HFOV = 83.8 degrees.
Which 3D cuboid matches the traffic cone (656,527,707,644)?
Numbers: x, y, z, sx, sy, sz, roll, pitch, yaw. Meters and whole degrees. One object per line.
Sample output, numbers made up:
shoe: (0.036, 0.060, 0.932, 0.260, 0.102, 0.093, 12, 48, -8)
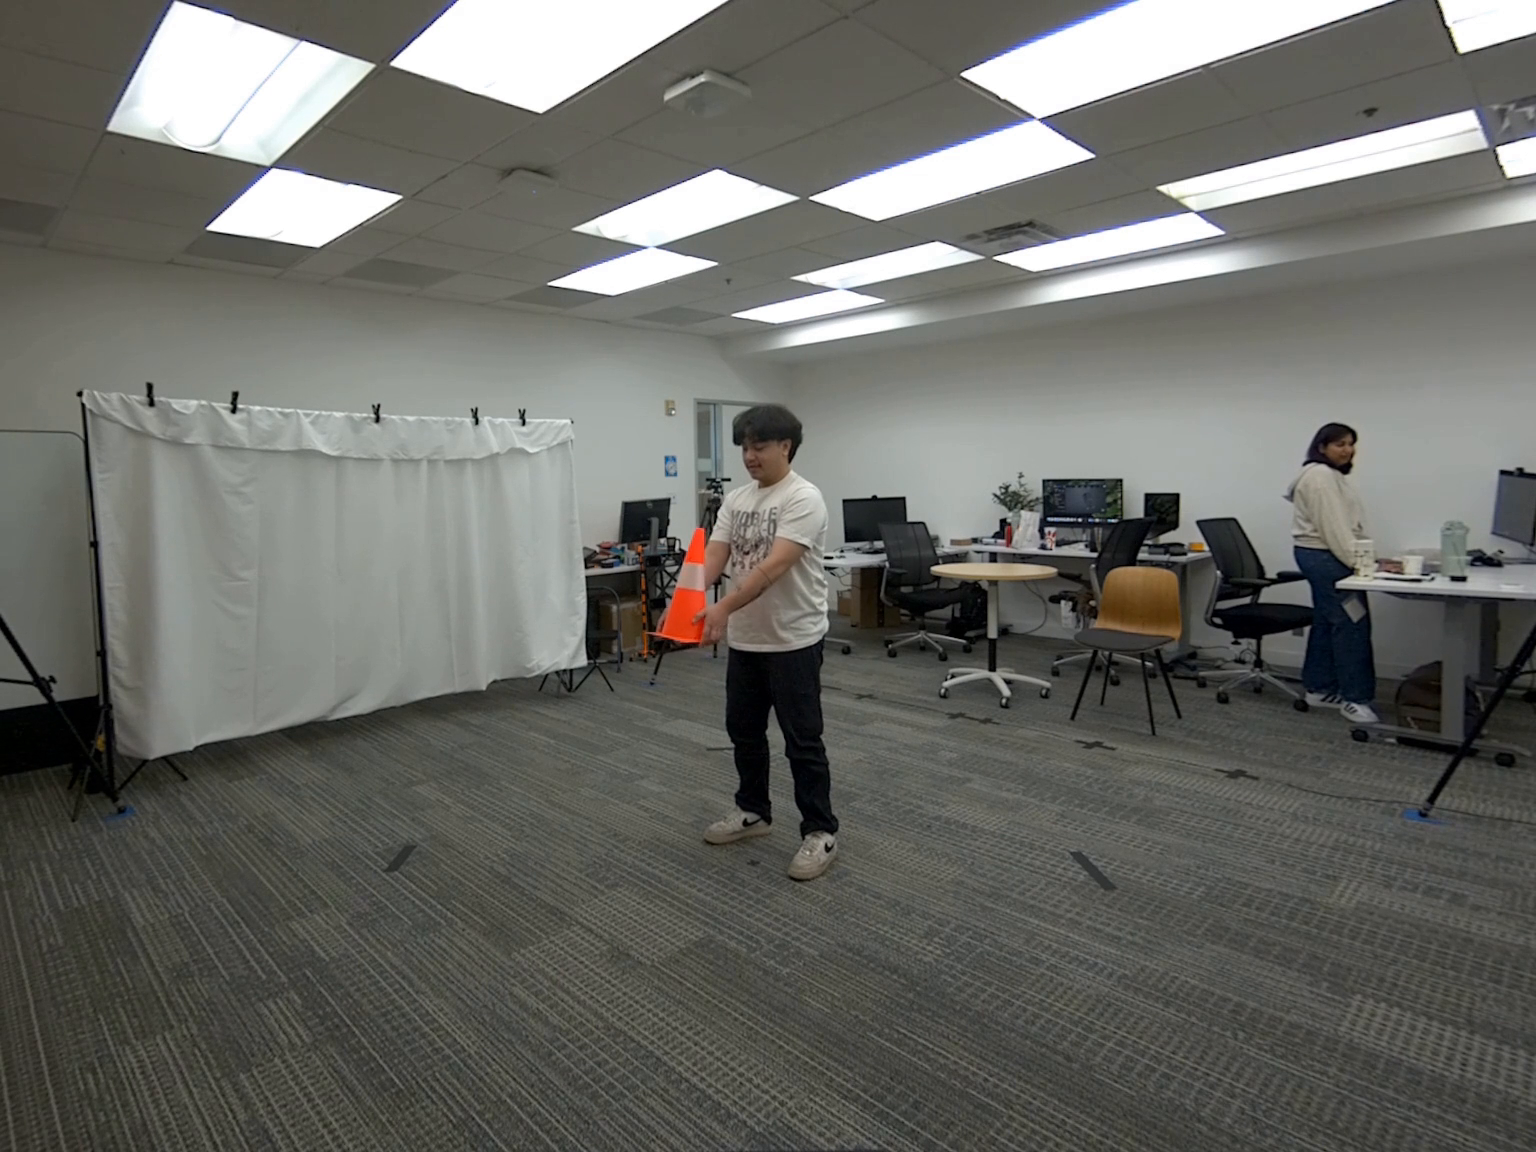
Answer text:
traffic cone: (-0.261, 0.024, 2.931, 0.210, 0.384, 0.198, 4, -1, 28)
